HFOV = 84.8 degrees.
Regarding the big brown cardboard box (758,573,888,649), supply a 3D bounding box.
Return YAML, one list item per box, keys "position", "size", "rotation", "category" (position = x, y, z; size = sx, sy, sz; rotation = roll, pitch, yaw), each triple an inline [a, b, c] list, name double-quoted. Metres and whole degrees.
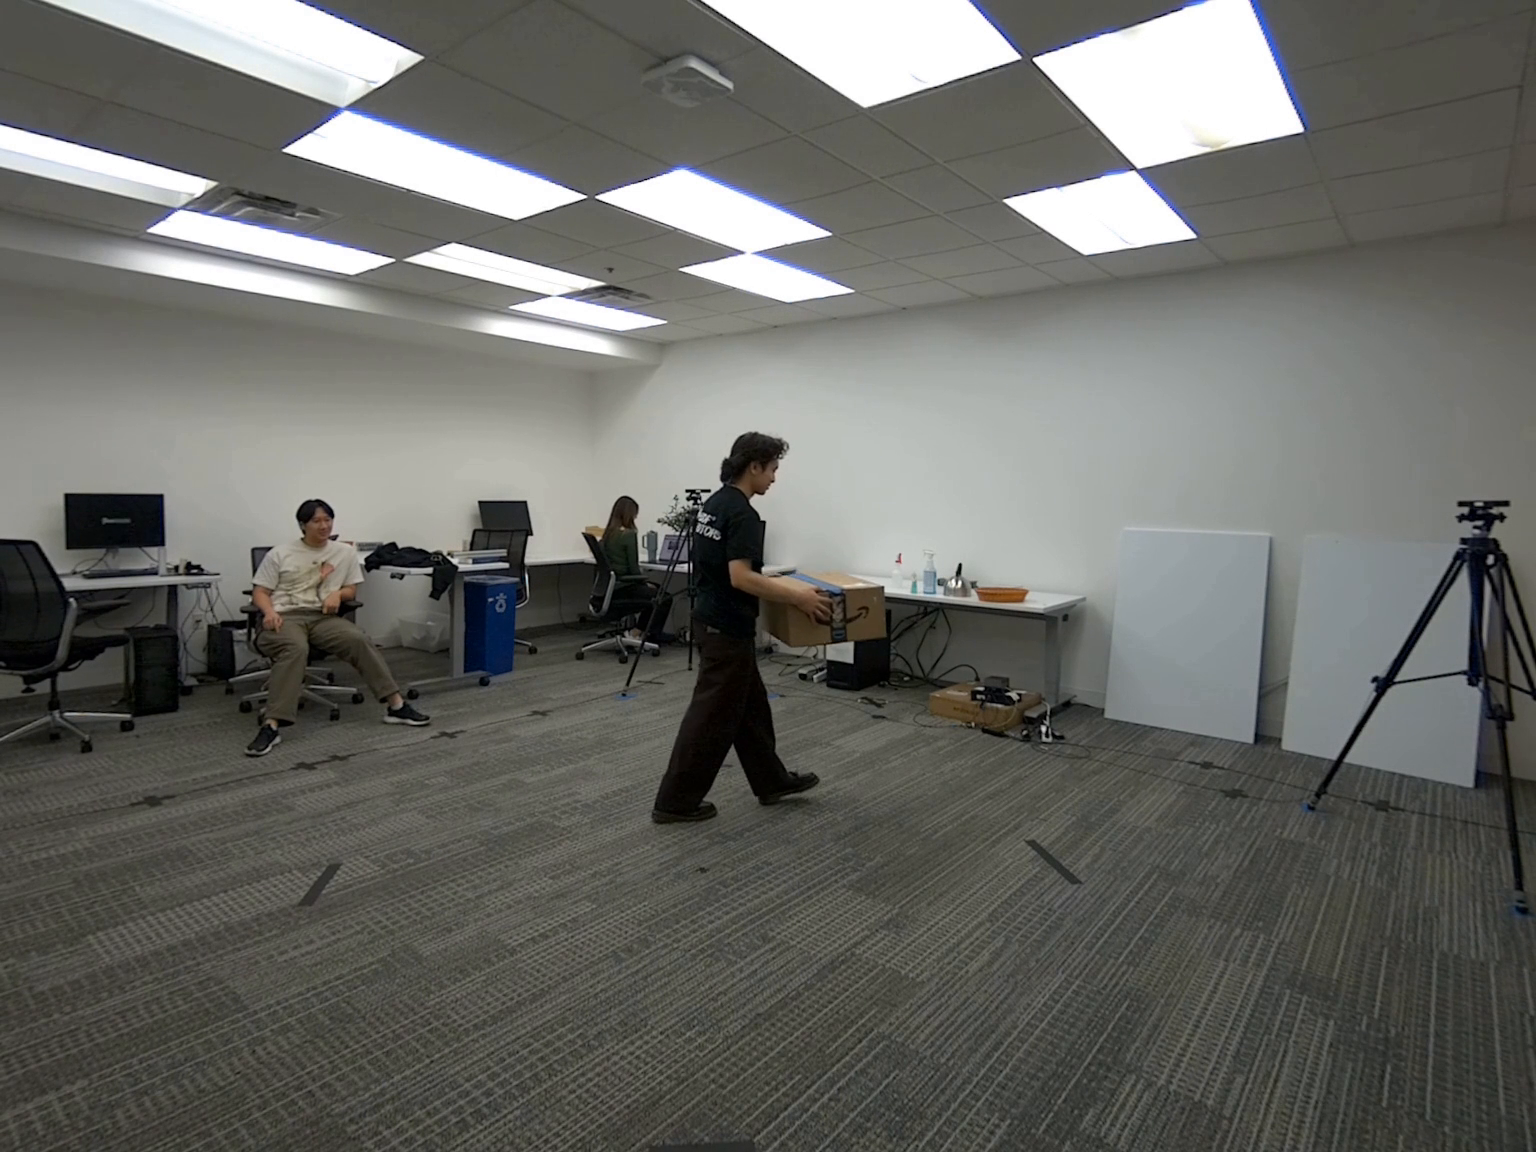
- position: [0.192, 0.124, 3.708]
  size: [0.412, 0.232, 0.601]
  rotation: [-6, 8, -15]
  category: "big brown cardboard box"
